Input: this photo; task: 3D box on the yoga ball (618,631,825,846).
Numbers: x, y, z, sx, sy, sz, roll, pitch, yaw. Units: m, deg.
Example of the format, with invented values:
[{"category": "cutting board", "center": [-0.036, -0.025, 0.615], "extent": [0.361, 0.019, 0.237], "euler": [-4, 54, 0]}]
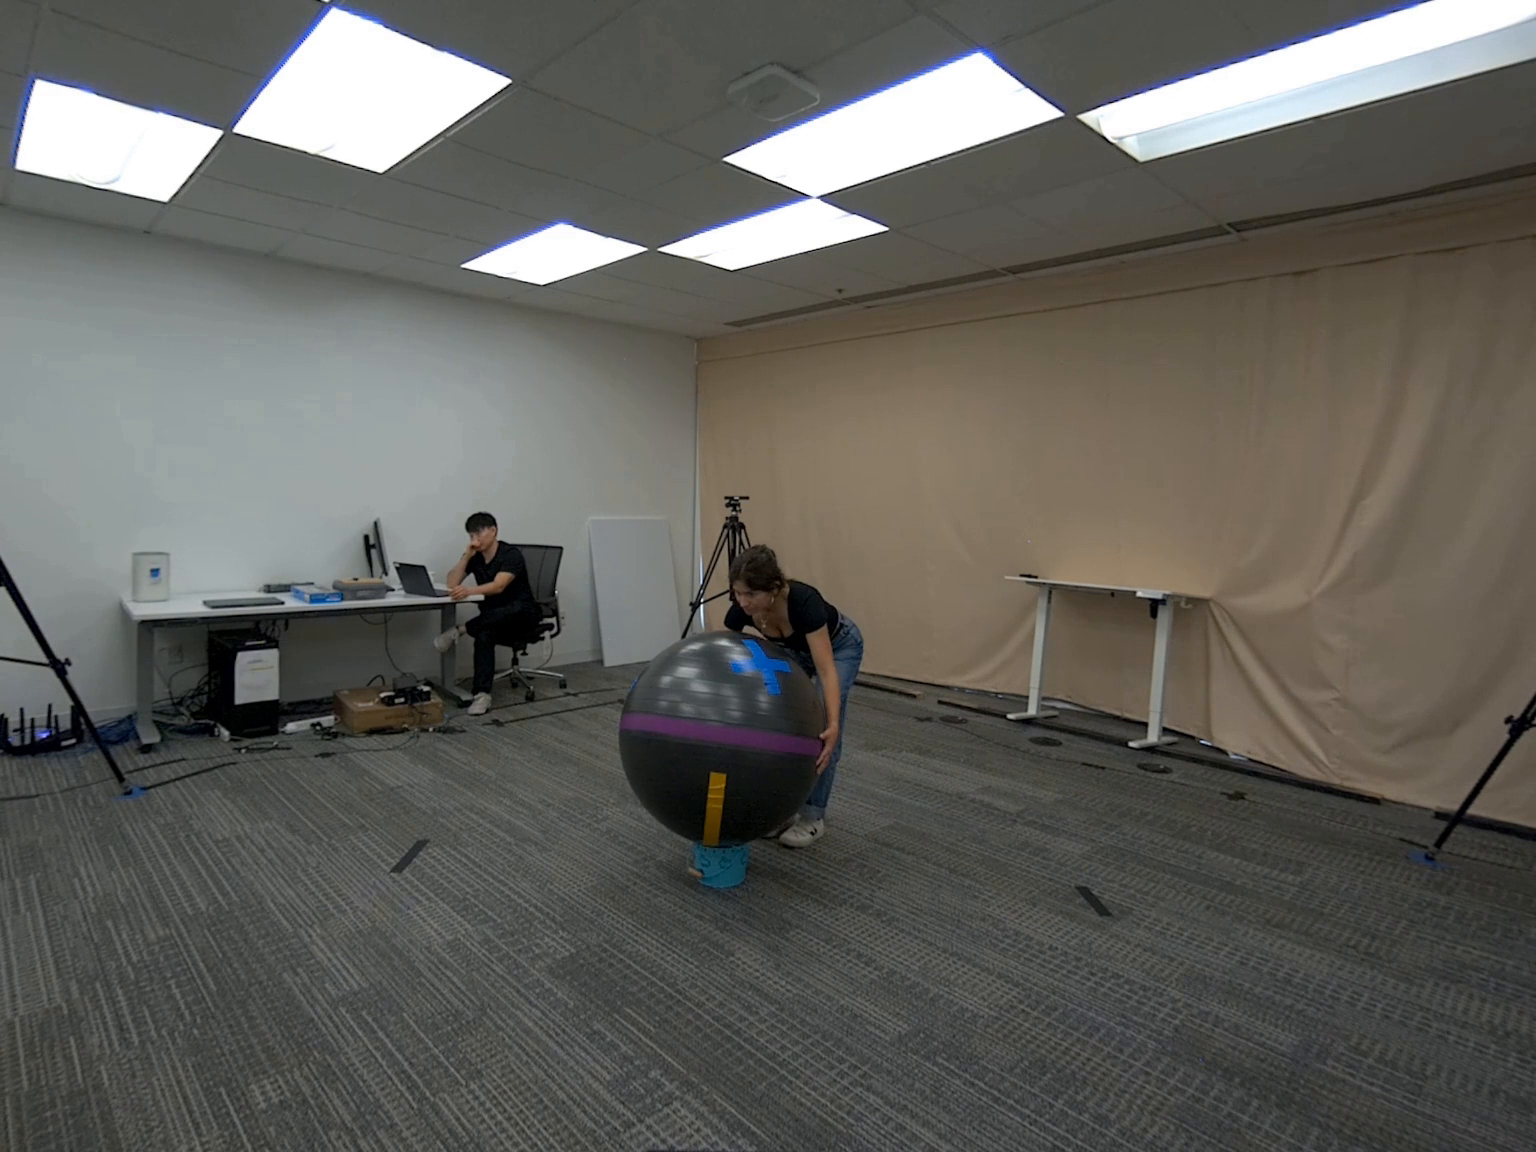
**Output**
[{"category": "yoga ball", "center": [-0.167, 0.578, 3.092], "extent": [0.757, 0.756, 0.761], "euler": [1, 4, -1]}]
